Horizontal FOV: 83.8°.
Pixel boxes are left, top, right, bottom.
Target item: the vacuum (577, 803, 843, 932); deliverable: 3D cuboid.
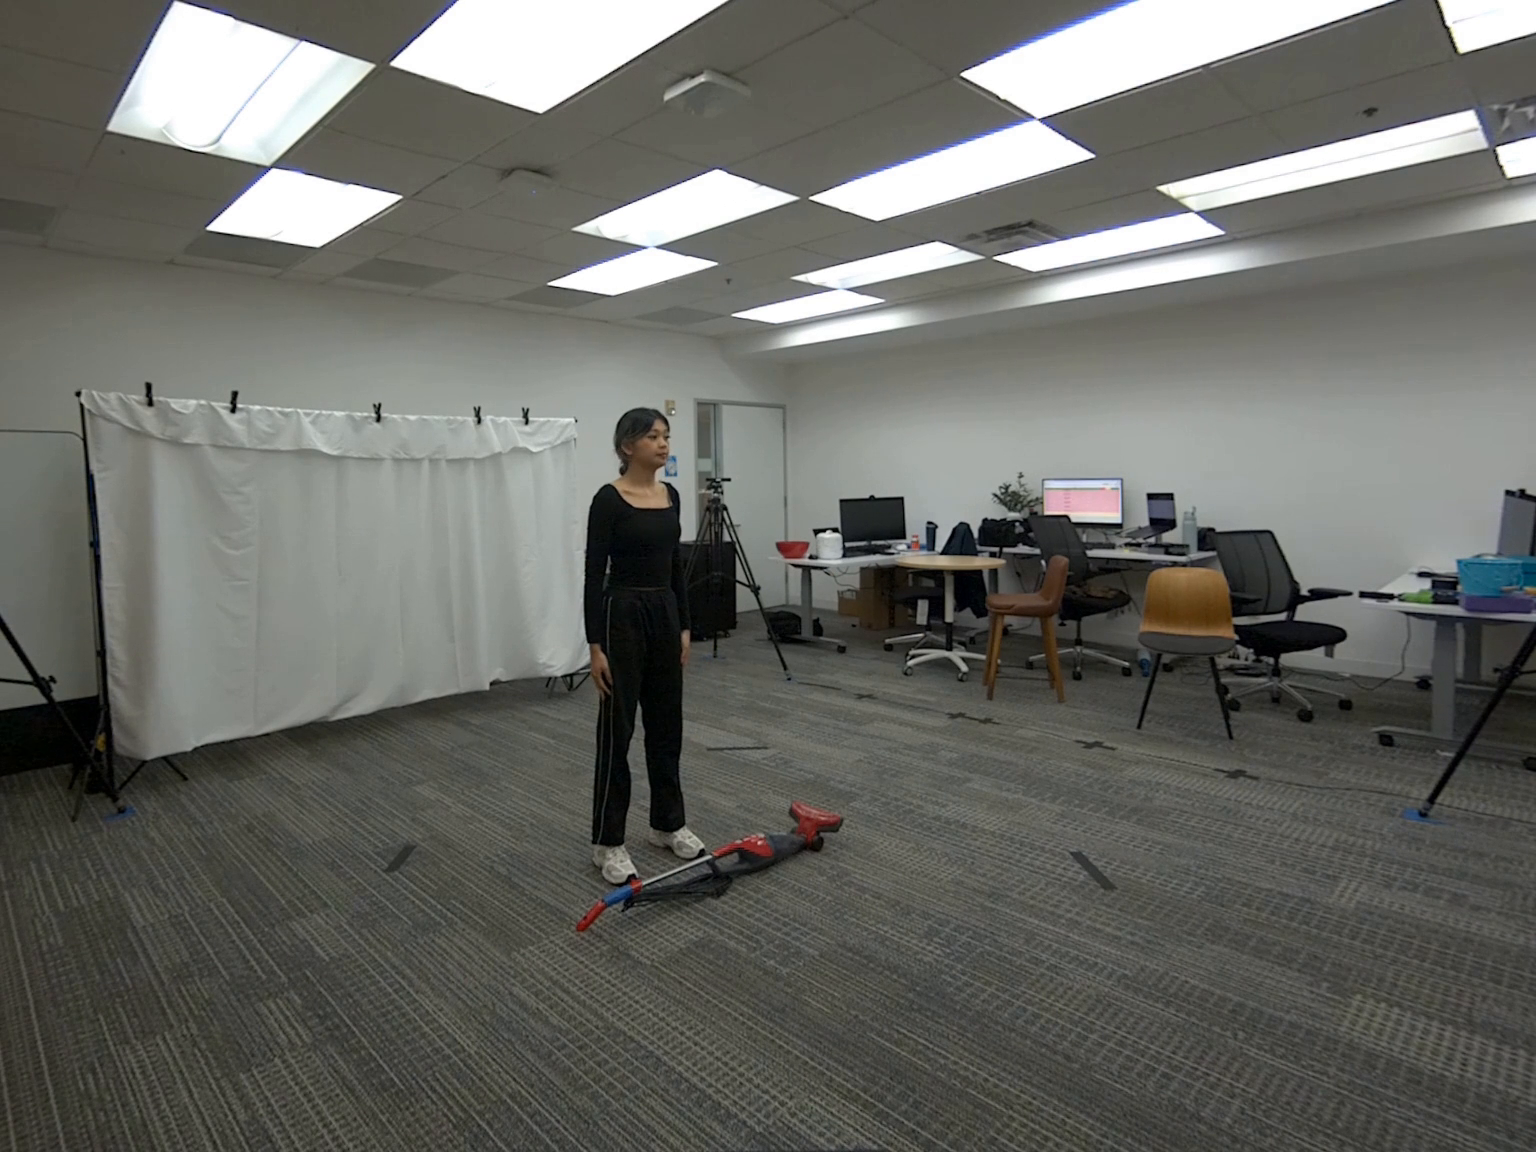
[{"bbox_3d":[-0.191,1.006,2.913,1.023,0.144,0.259,-9,4,-44],"label":"vacuum"}]
